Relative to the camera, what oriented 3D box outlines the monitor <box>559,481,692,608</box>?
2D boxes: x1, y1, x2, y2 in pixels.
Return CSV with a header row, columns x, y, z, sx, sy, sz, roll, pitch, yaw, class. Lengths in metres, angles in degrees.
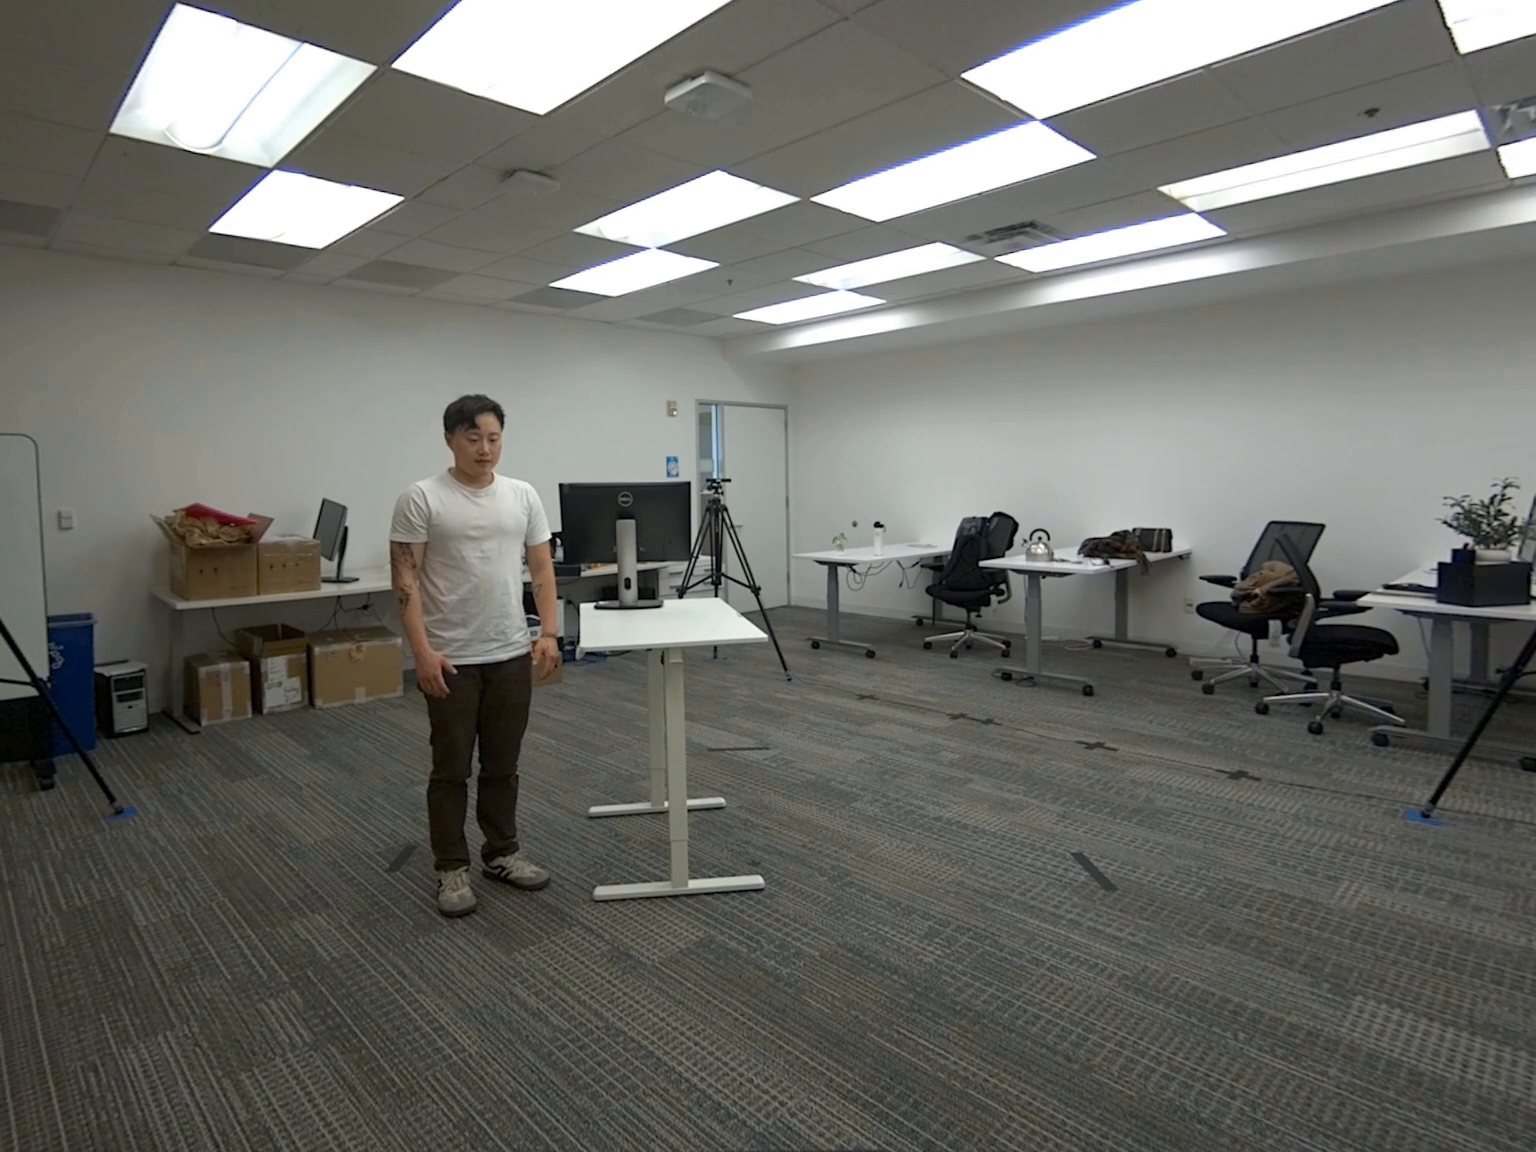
x,y,z,sx,sy,sz,roll,pitch,yaw,class
-0.580,-0.125,3.504,0.536,0.519,0.189,-1,7,-5,monitor
